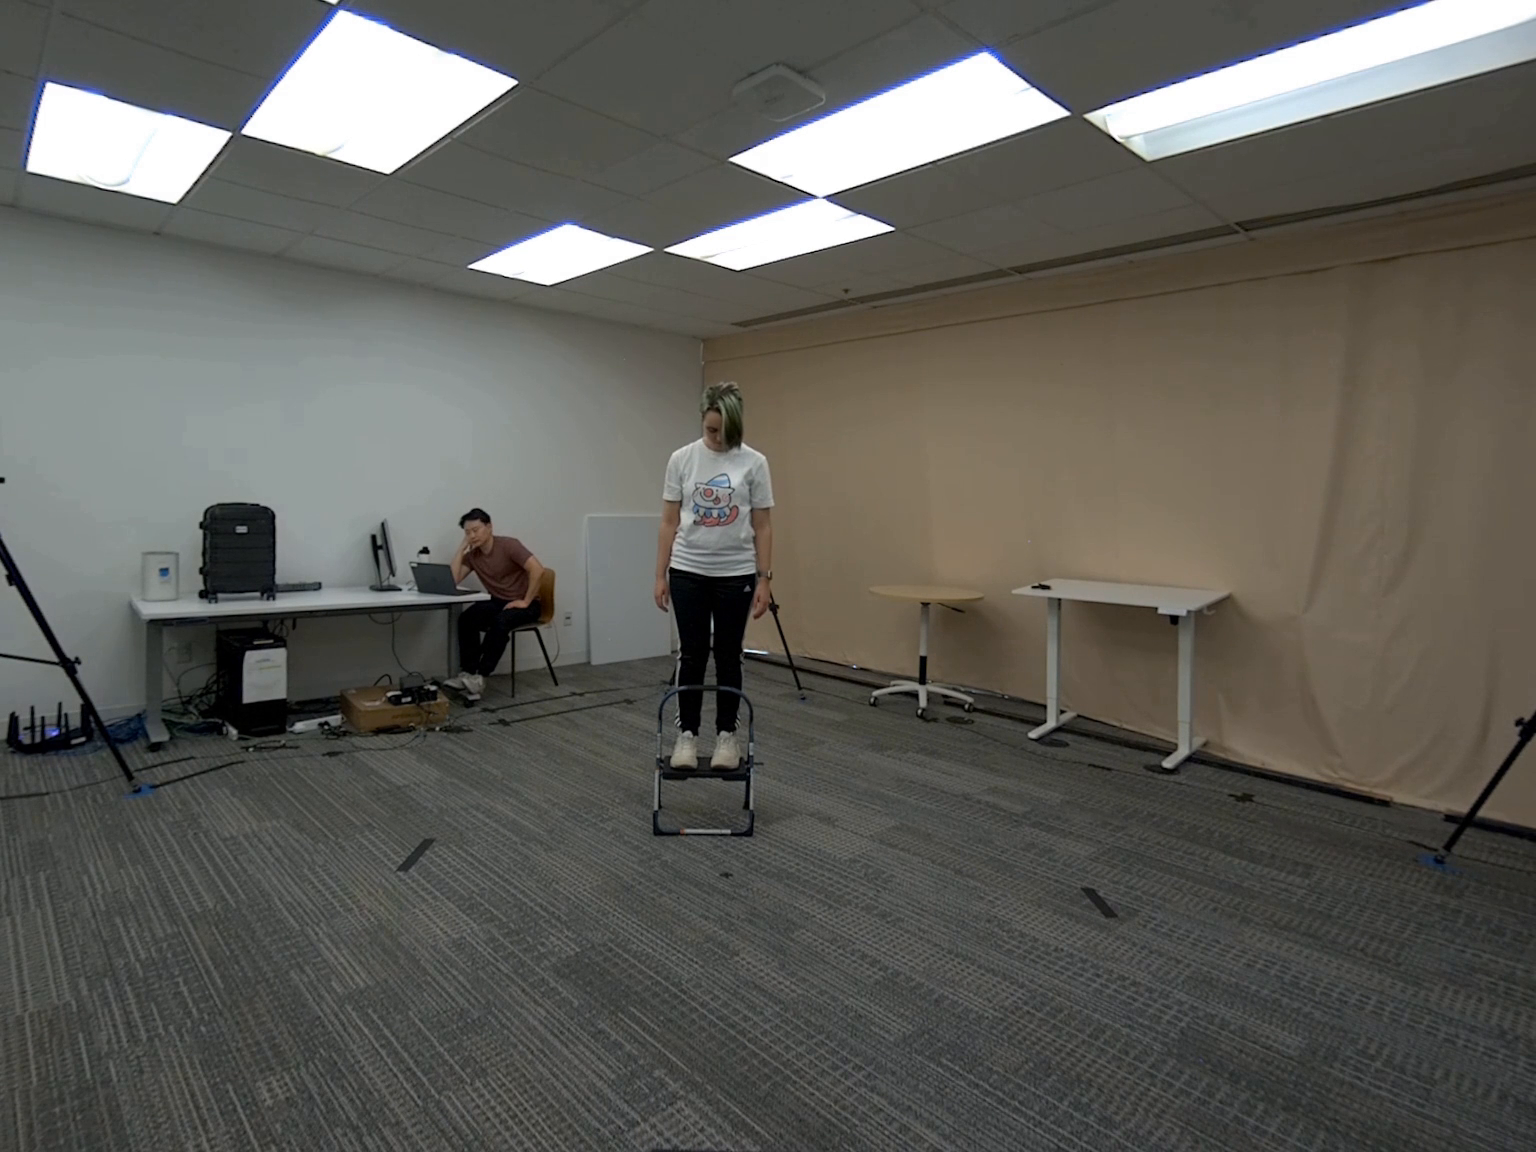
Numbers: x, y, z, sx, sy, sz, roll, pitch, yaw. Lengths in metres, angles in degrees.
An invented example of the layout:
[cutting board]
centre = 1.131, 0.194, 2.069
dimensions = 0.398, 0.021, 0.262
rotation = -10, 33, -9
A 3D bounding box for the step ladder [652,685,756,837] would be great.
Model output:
[step ladder]
centre = -0.281, 0.758, 3.613
dimensions = 0.429, 0.605, 0.351
rotation = 1, 2, -4
